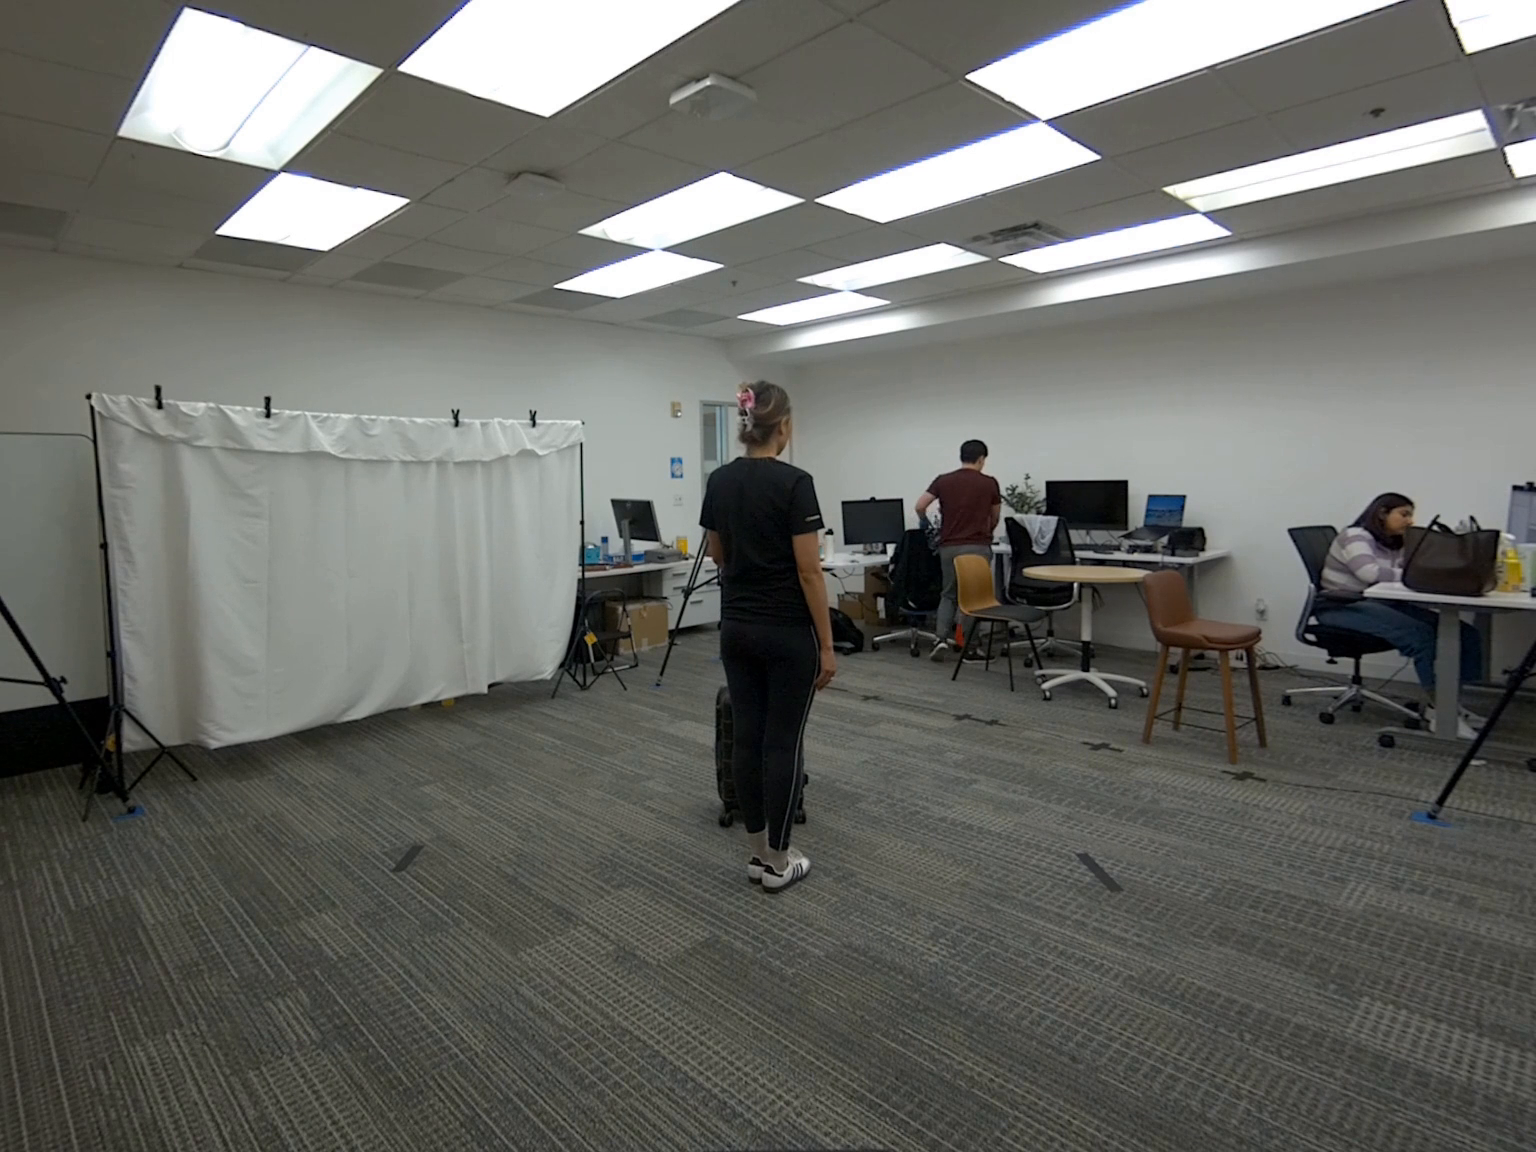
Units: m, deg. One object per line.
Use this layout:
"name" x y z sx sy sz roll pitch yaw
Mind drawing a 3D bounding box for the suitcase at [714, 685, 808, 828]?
"suitcase" -0.036 0.521 3.568 0.383 0.979 0.258 -1 0 -4
